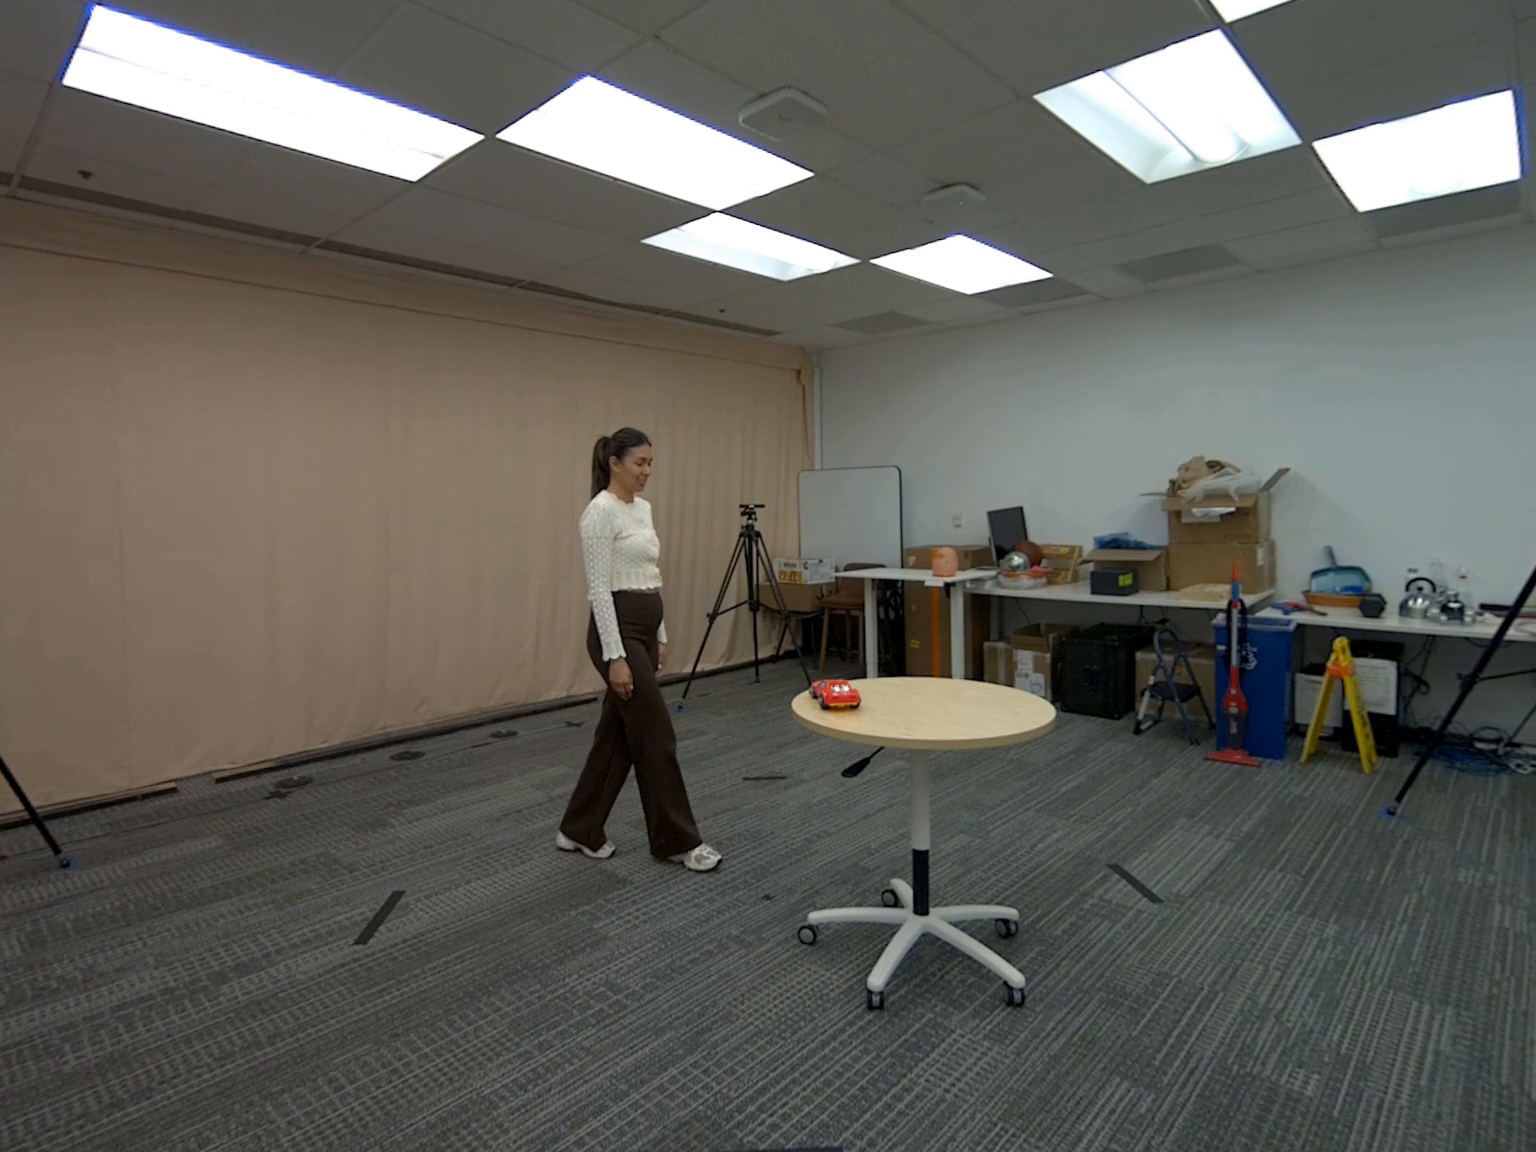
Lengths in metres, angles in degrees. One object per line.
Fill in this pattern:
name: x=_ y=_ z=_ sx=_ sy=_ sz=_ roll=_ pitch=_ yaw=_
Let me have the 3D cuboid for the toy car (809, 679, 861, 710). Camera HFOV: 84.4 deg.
toy car: x=0.211 y=0.358 z=2.538 sx=0.130 sy=0.084 sz=0.254 roll=-2 pitch=-8 yaw=-5
